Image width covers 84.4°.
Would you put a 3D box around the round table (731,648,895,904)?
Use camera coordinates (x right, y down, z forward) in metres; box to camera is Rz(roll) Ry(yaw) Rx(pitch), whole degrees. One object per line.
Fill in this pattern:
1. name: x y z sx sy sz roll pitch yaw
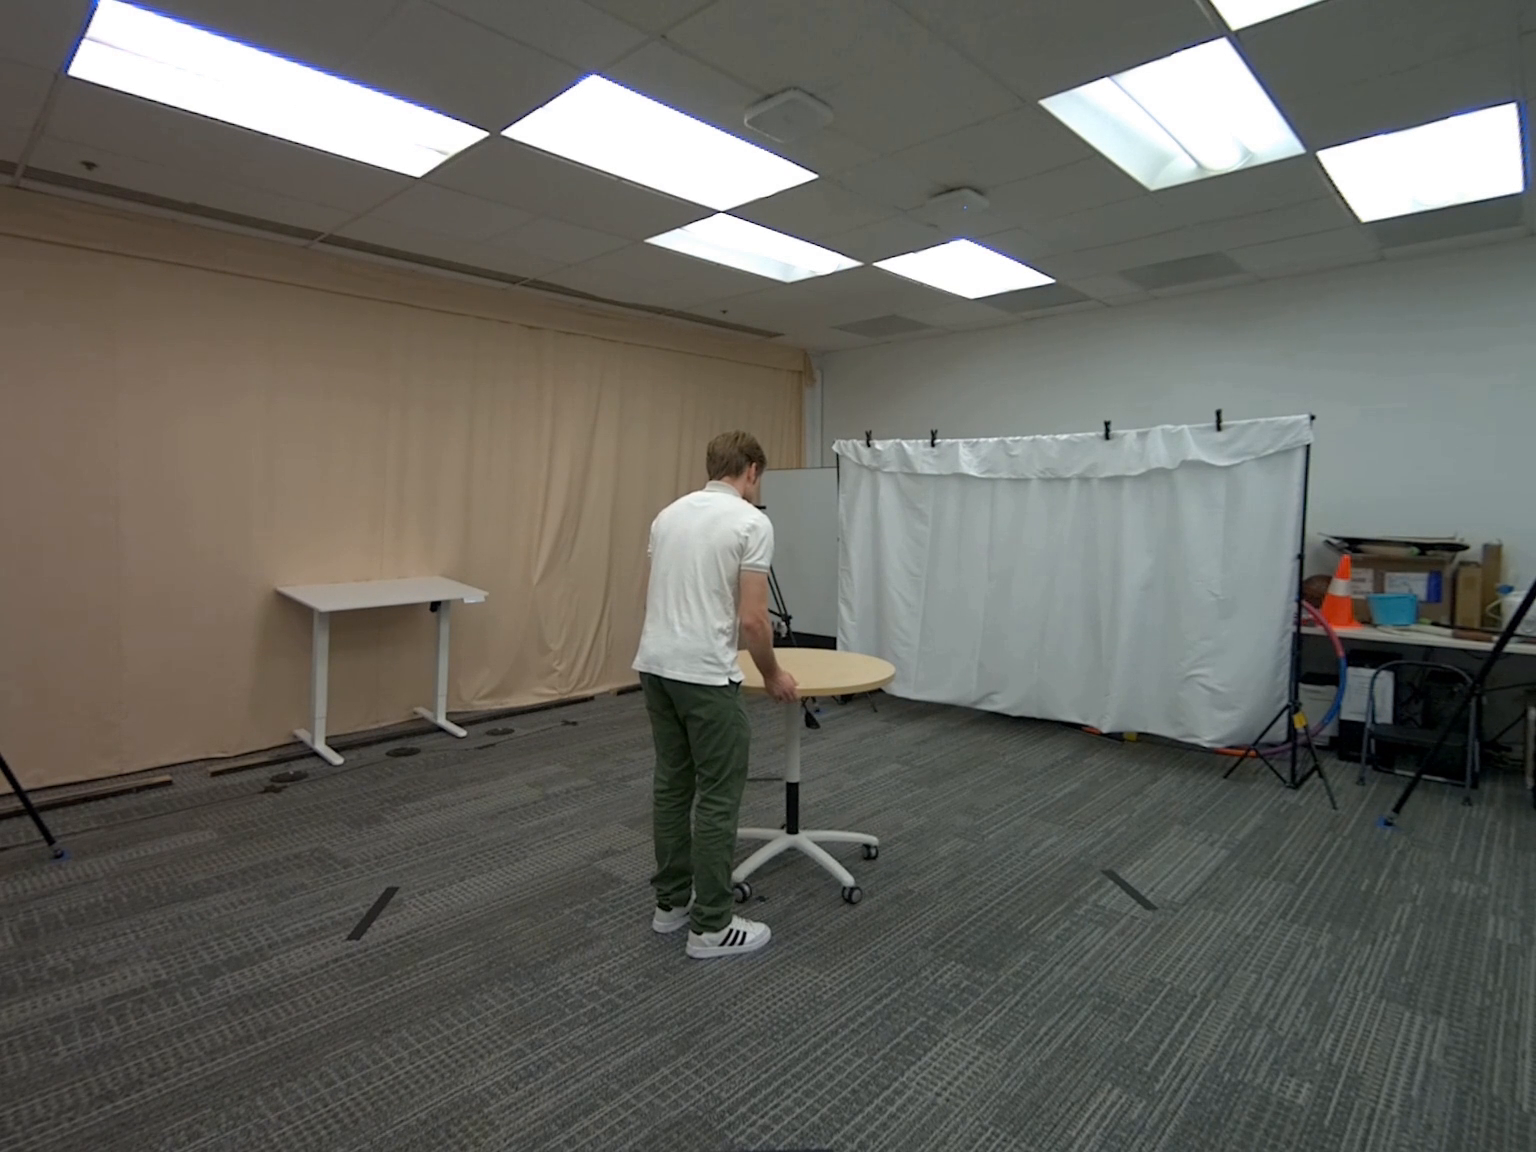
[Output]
1. round table: 0.099 0.733 3.214 0.763 0.792 0.767 0 4 -2
